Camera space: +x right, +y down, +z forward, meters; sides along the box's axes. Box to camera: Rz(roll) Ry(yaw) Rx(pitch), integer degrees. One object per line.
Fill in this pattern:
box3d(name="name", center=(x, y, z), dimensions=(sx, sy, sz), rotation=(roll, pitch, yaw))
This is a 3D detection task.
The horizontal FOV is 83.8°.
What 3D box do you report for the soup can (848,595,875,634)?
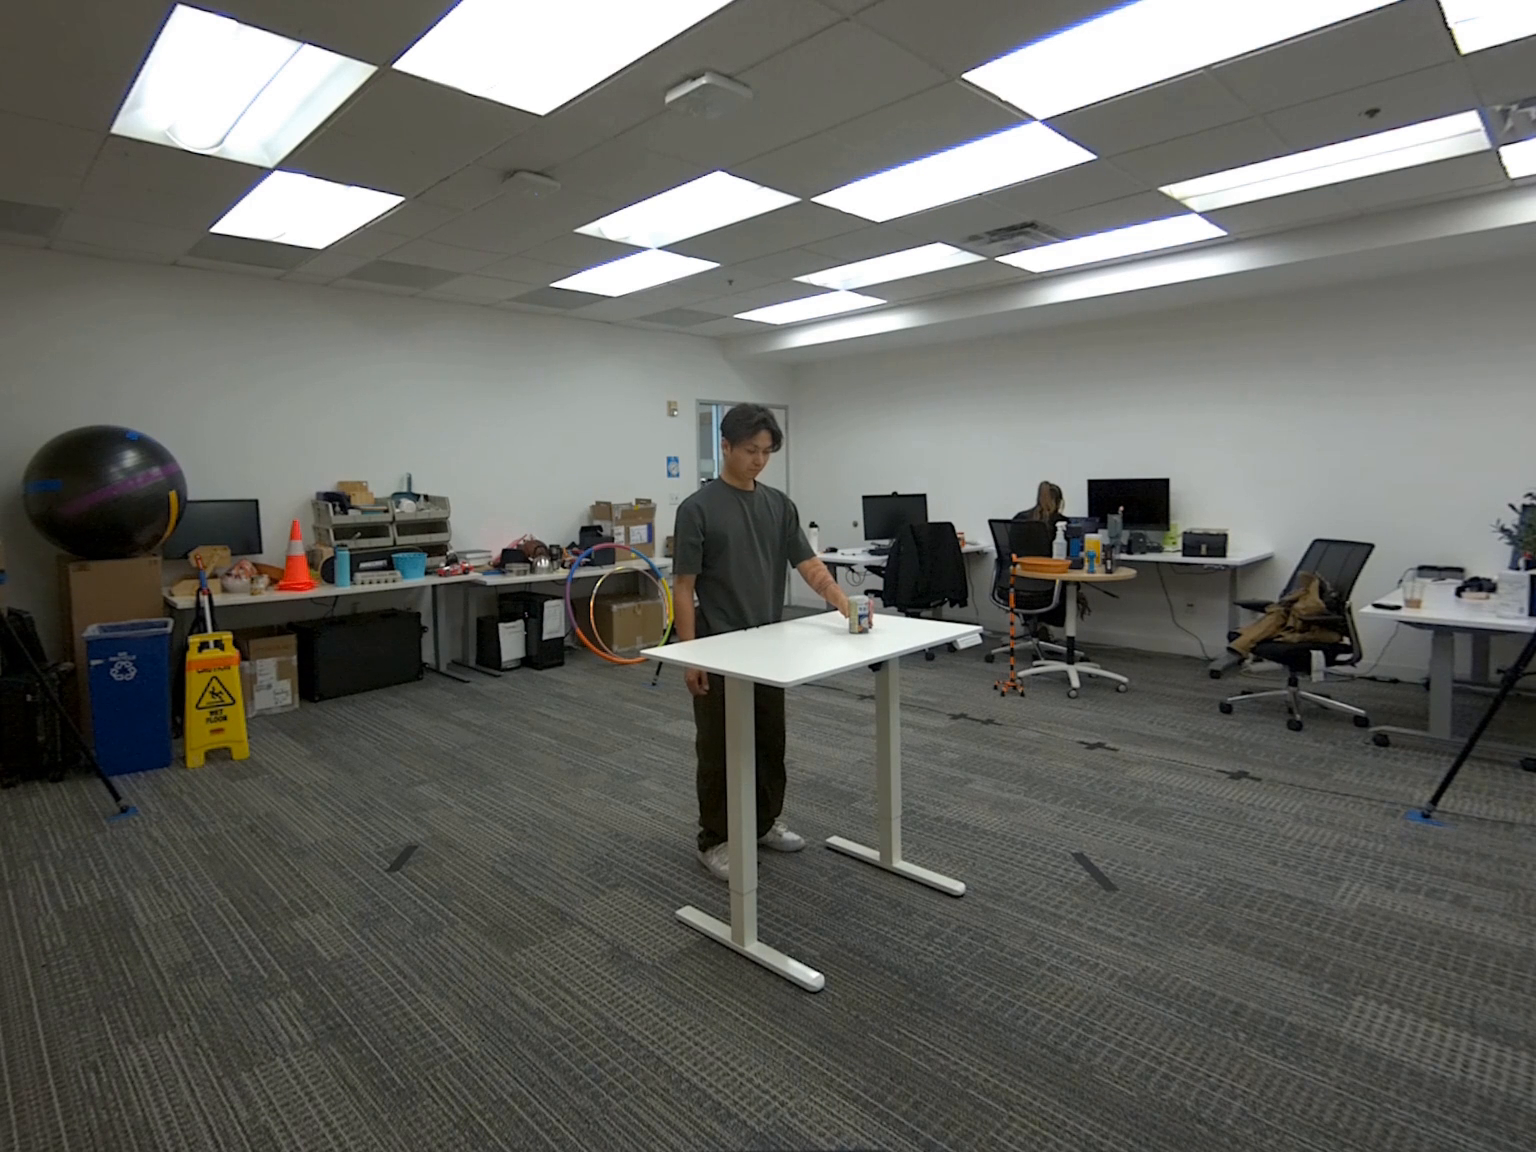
box3d(name="soup can", center=(0.286, 0.131, 2.819), dimensions=(0.067, 0.121, 0.067), rotation=(-4, 5, -1))
